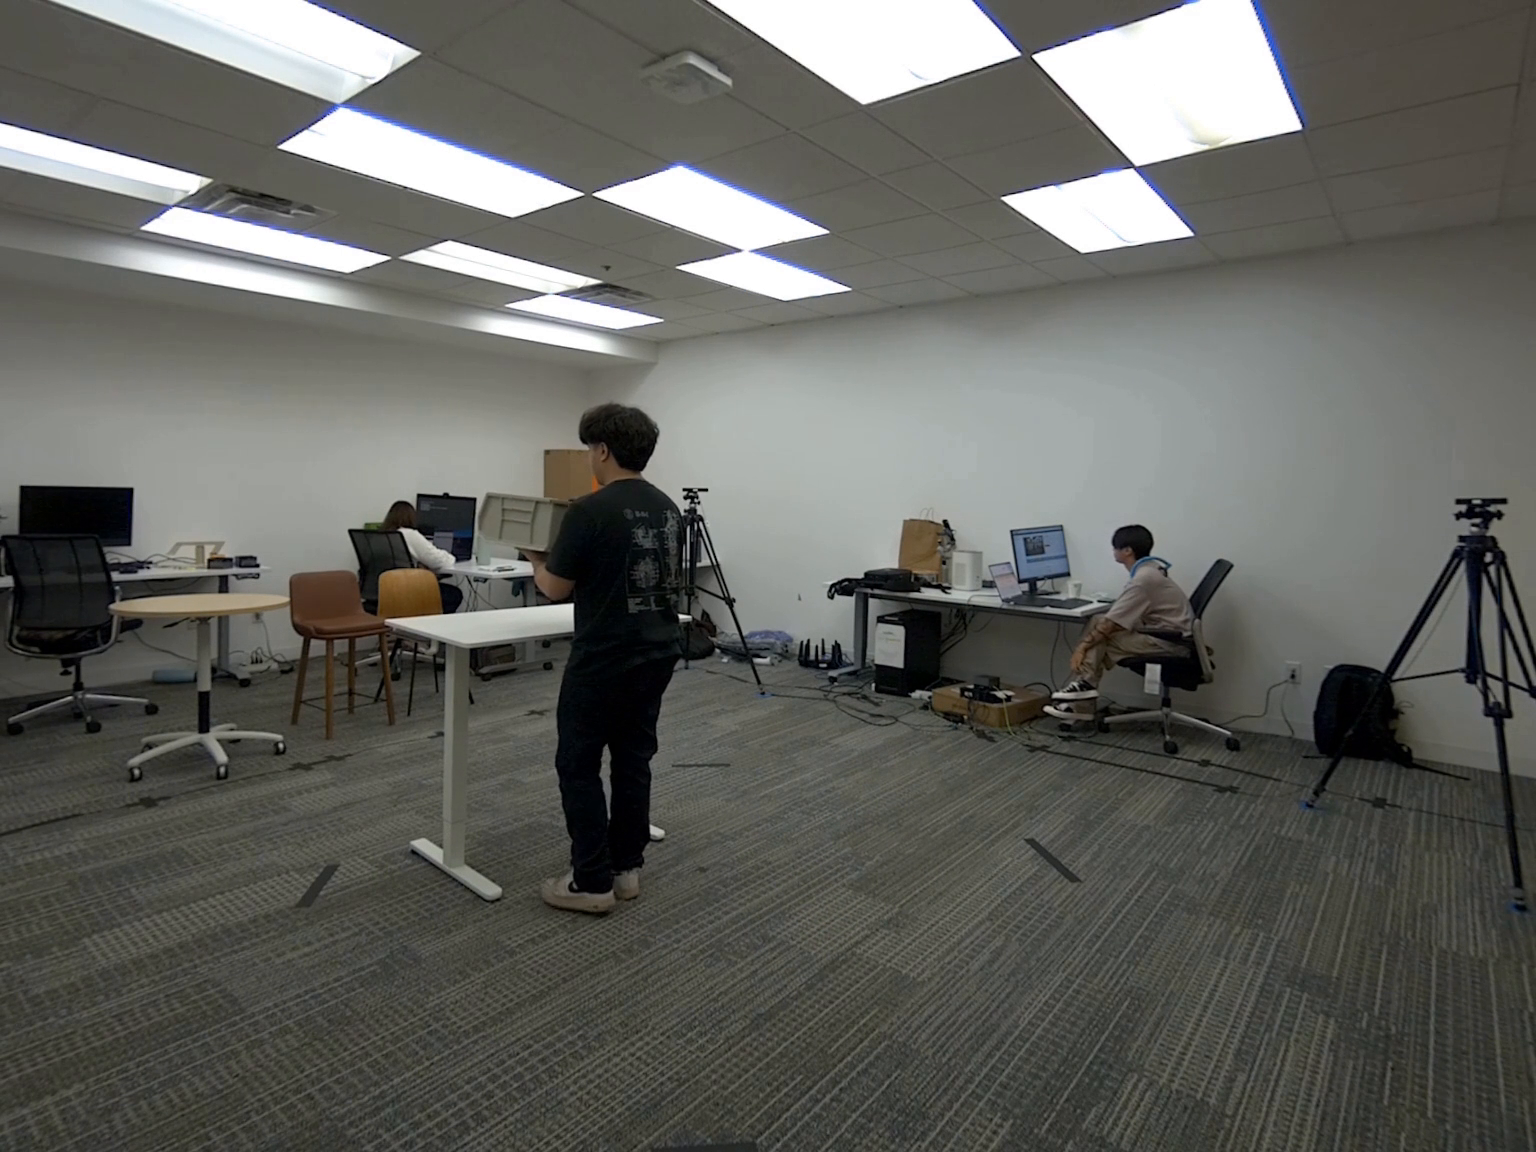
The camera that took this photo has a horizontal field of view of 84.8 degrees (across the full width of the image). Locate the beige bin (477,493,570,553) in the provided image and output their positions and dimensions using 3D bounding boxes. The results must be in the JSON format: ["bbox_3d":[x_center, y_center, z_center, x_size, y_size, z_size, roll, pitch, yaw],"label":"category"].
[{"bbox_3d":[-0.790,-0.181,3.099,0.390,0.189,0.408,10,3,34],"label":"beige bin"}]
